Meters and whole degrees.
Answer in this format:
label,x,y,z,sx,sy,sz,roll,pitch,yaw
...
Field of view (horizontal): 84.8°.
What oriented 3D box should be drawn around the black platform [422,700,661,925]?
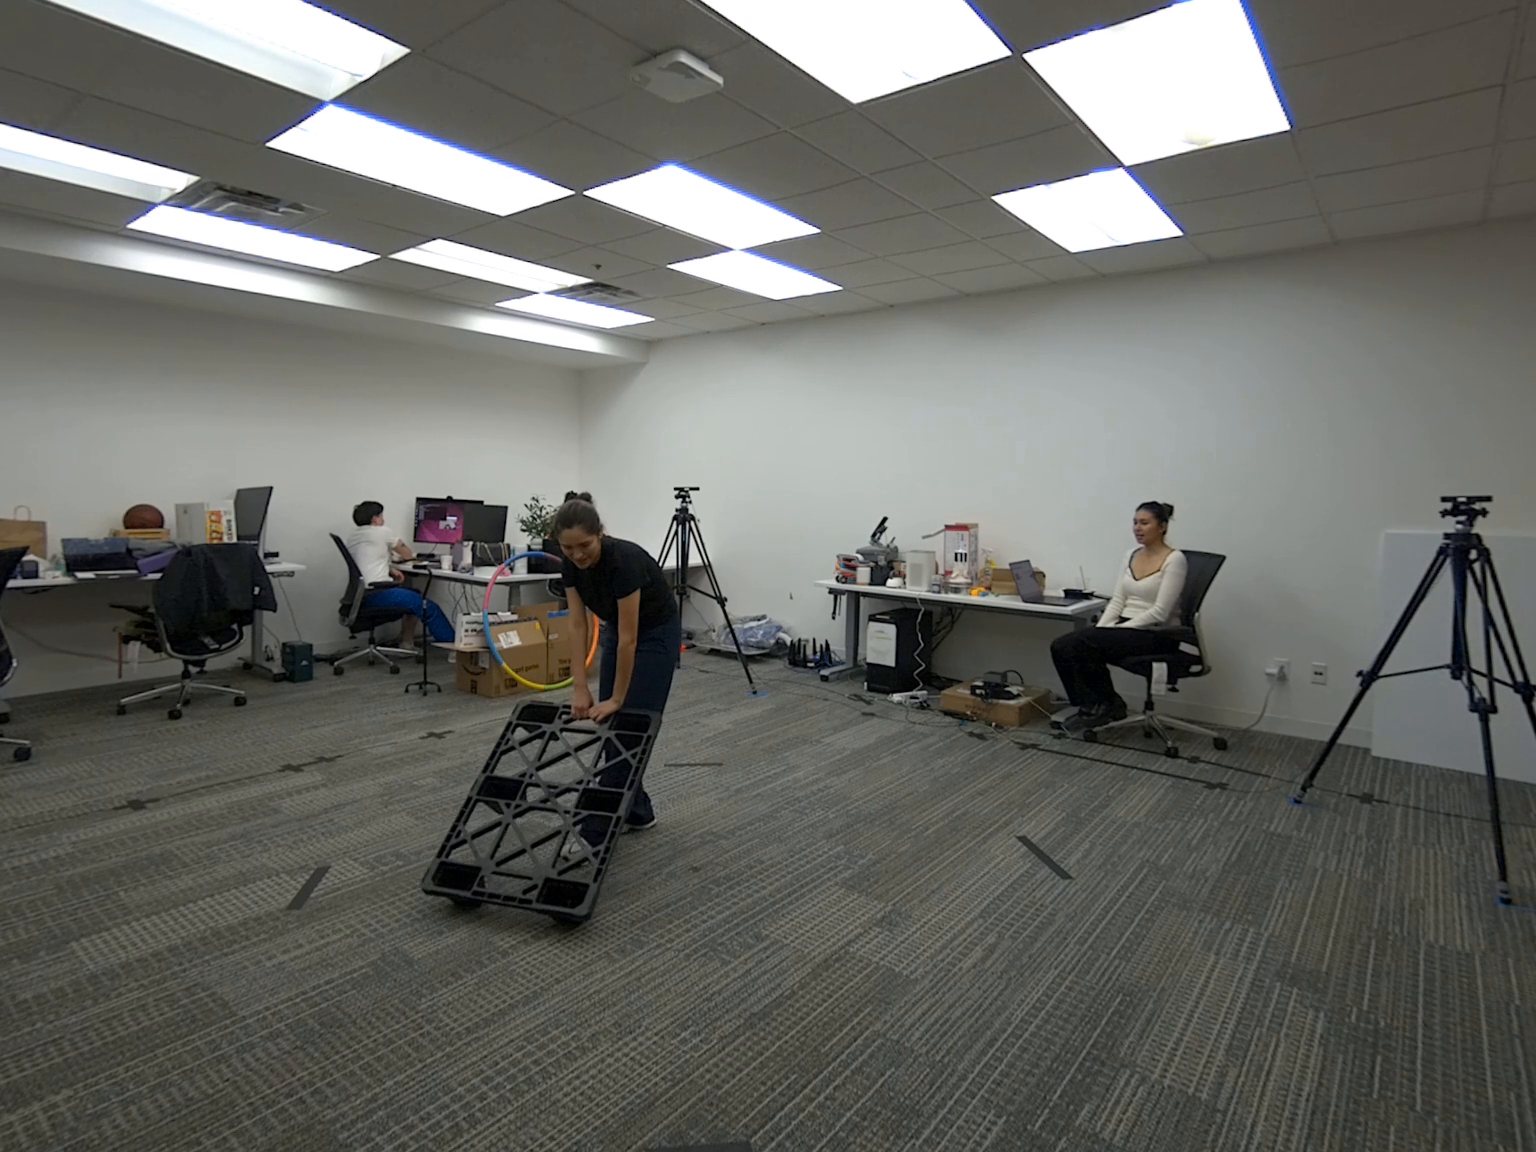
label,x,y,z,sx,sy,sz,roll,pitch,yaw
black platform,-0.744,0.802,3.014,0.615,0.138,0.819,1,41,15
